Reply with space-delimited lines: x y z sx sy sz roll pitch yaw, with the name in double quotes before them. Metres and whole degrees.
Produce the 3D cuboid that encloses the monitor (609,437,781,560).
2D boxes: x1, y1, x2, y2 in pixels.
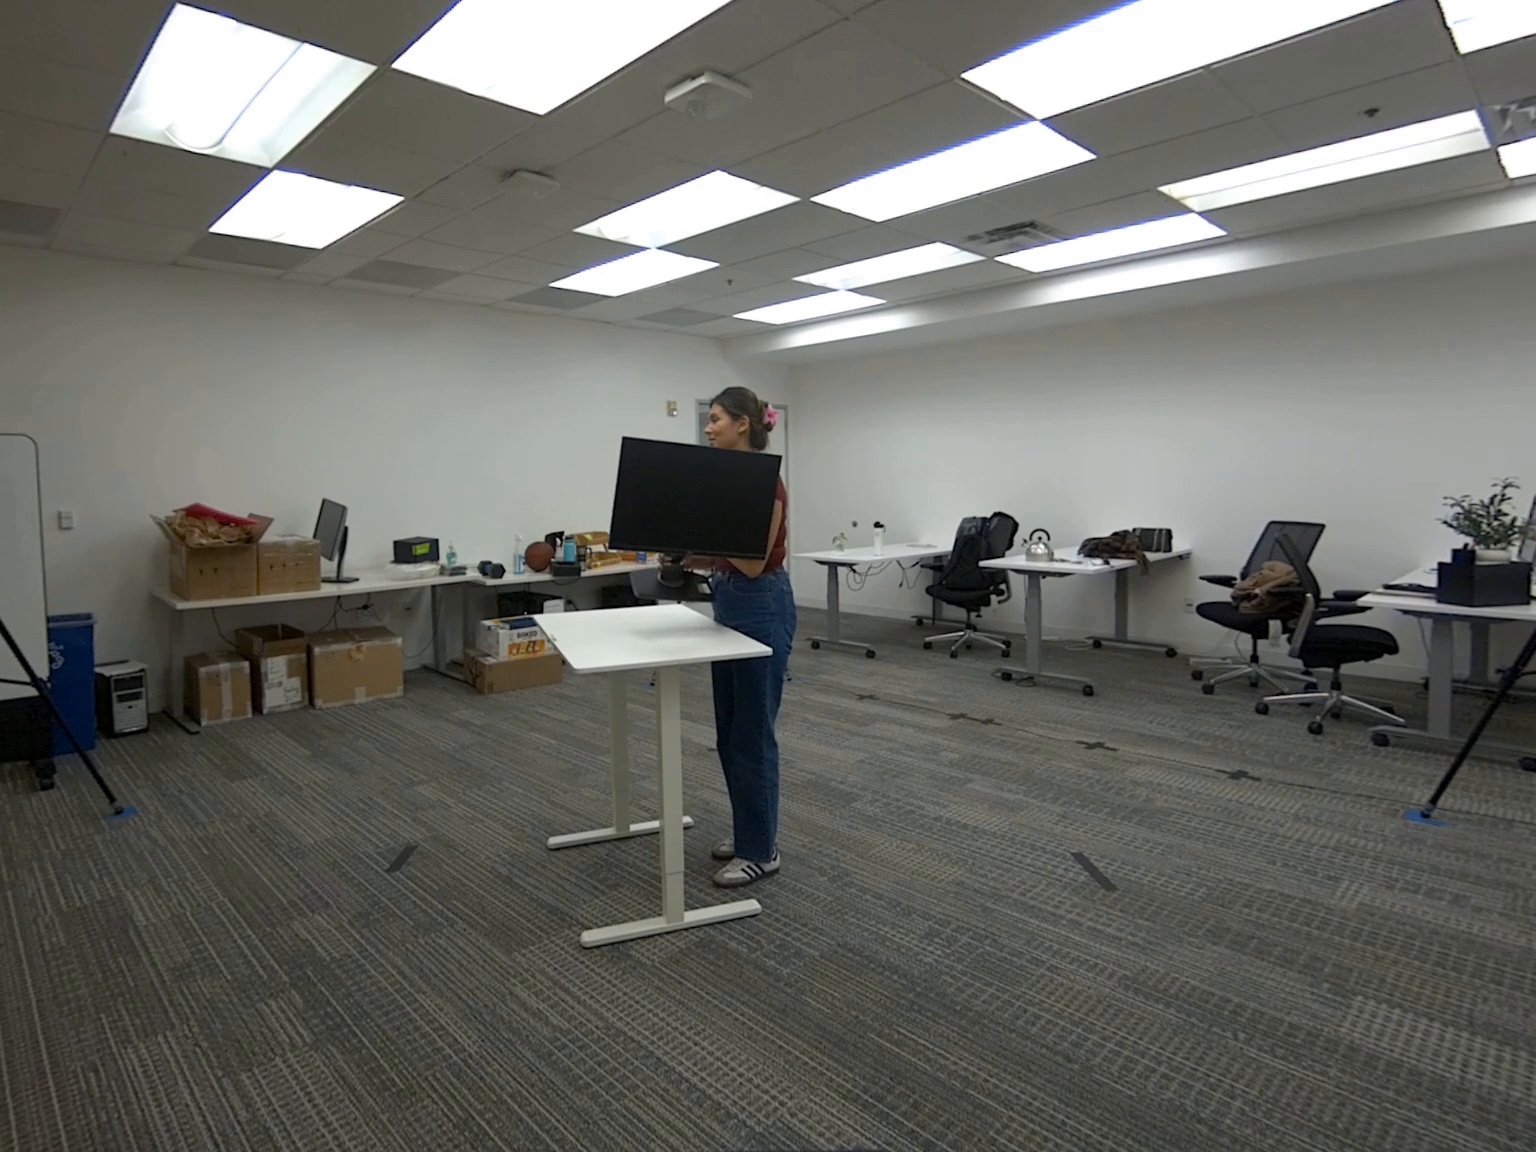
"monitor" -0.264 -0.173 2.766 0.526 0.515 0.194 4 27 -25
